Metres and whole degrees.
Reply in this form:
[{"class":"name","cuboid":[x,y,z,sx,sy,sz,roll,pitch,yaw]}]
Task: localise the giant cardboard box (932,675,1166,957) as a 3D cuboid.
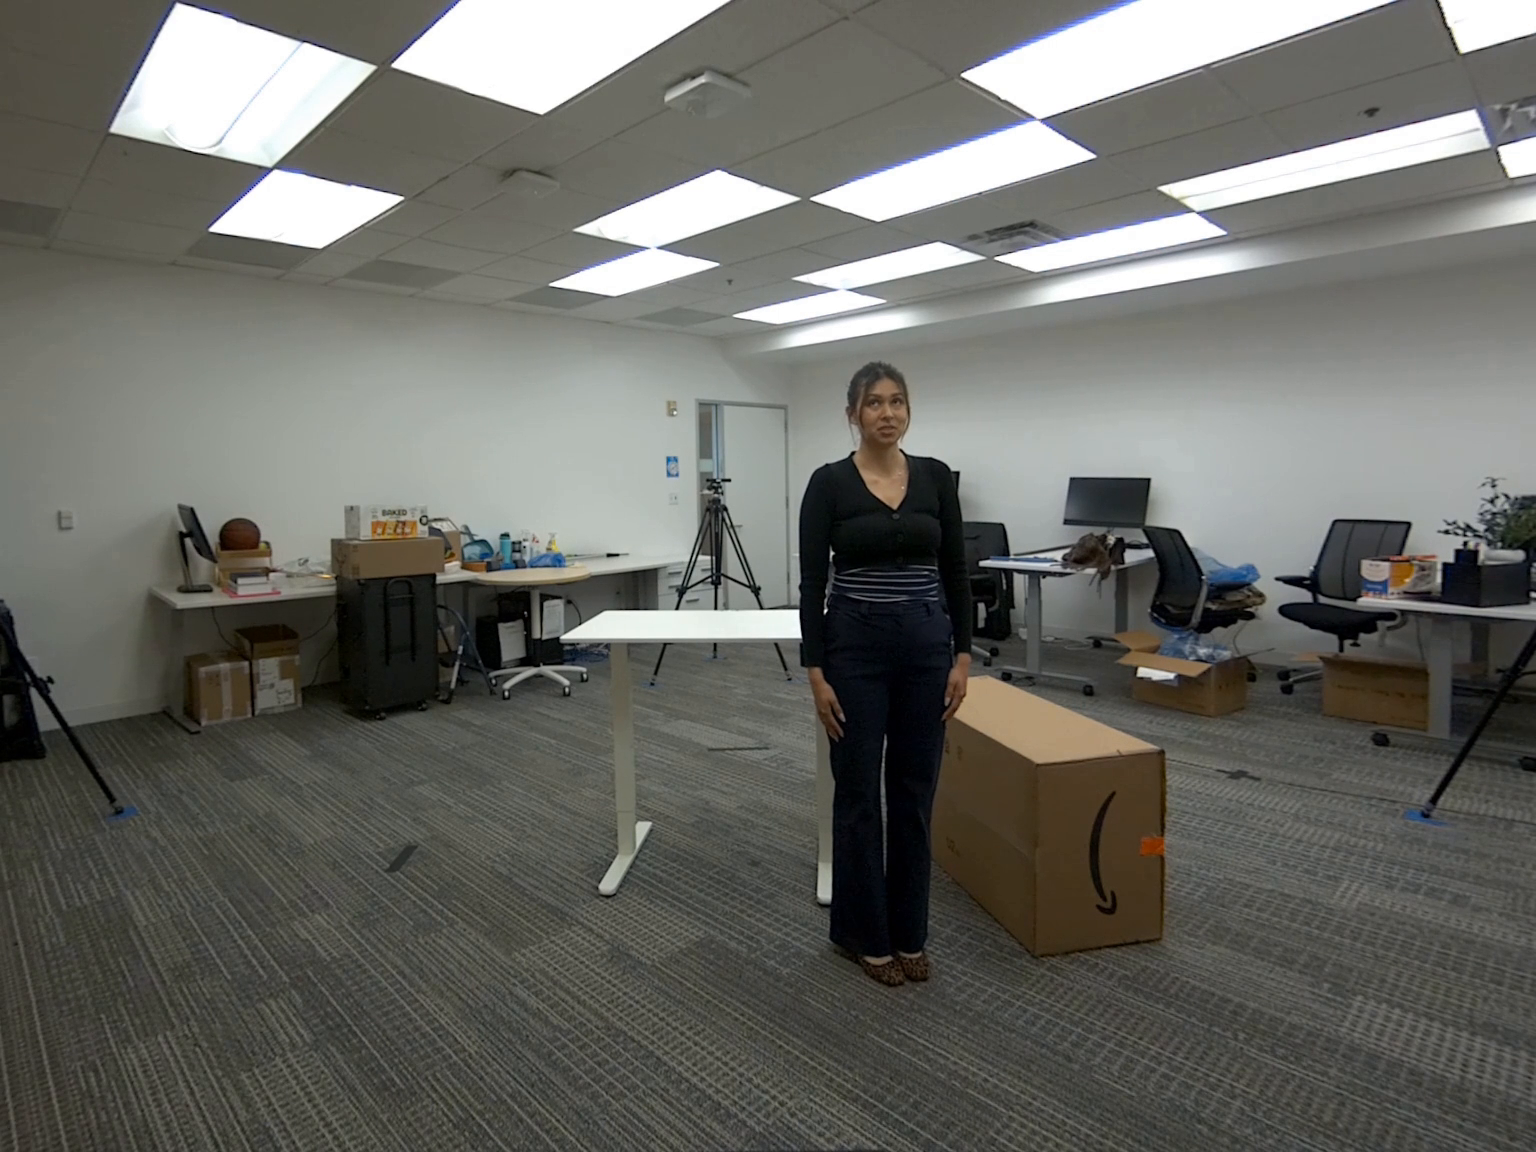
[{"class":"giant cardboard box","cuboid":[0.843,0.749,2.987,0.421,0.575,1.043,-2,5,-15]}]
